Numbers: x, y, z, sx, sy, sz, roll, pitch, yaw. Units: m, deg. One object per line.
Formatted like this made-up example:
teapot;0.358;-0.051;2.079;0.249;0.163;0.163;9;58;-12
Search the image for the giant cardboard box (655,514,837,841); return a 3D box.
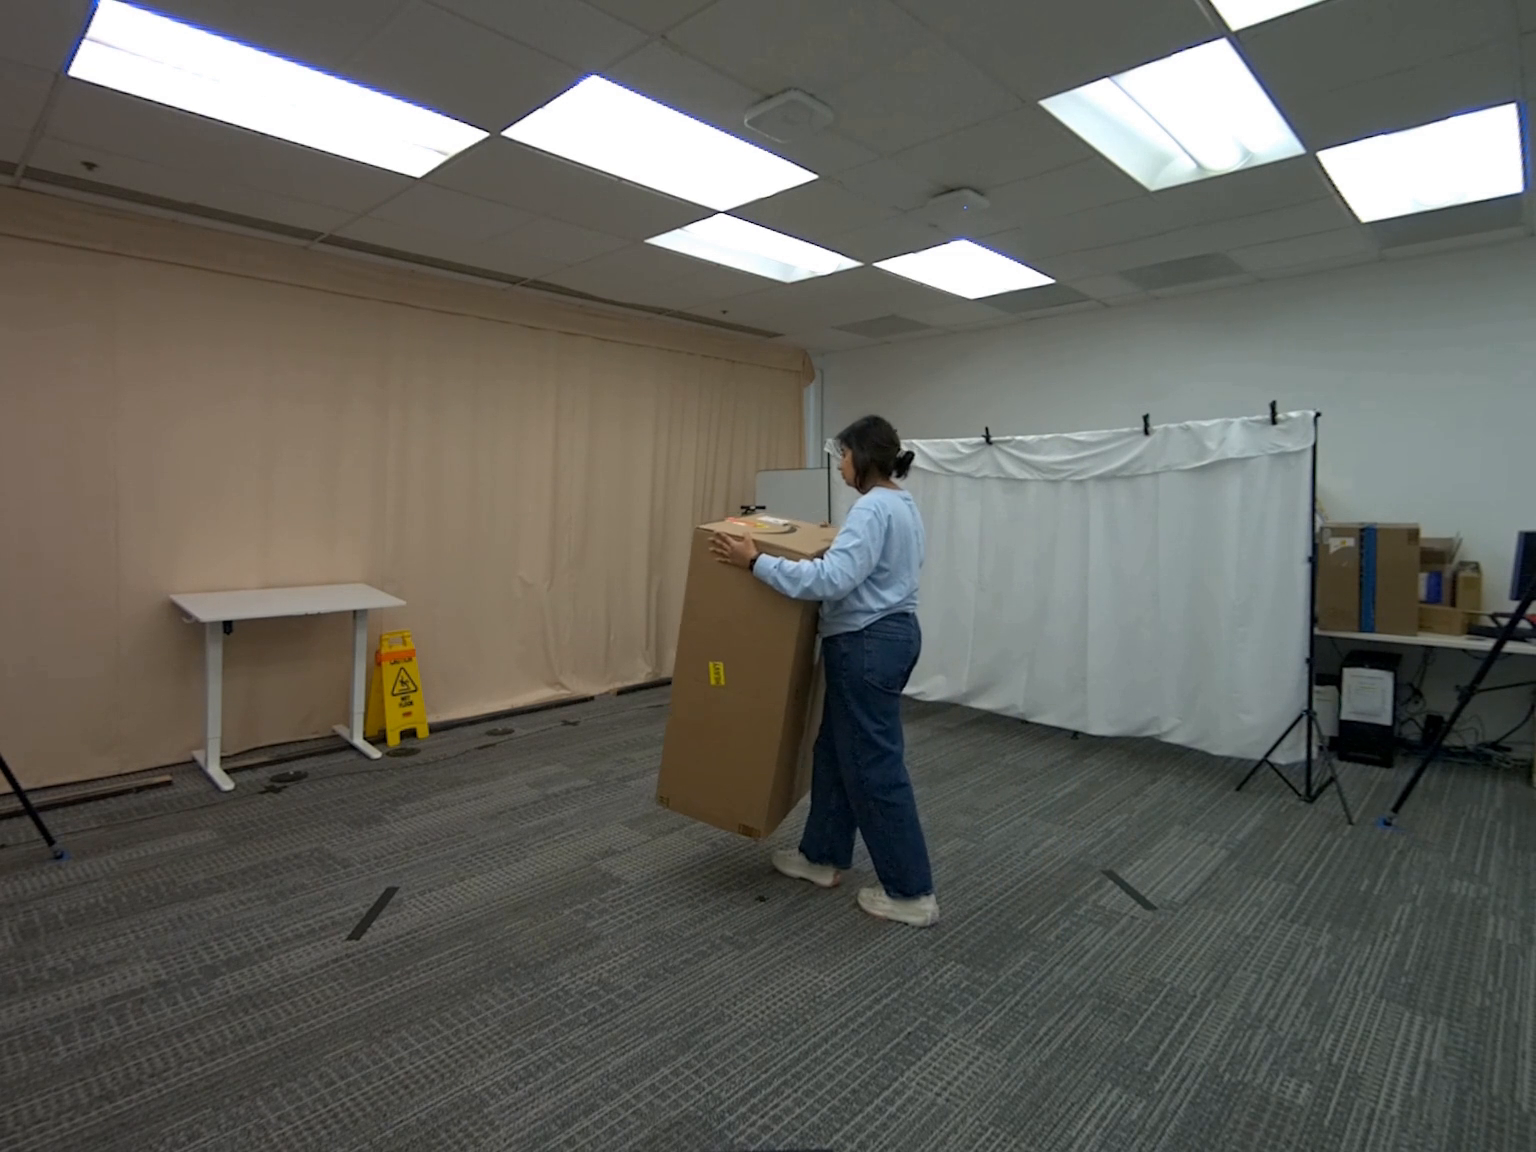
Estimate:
giant cardboard box;-0.035;0.329;3.098;0.437;1.020;0.566;14;13;21
